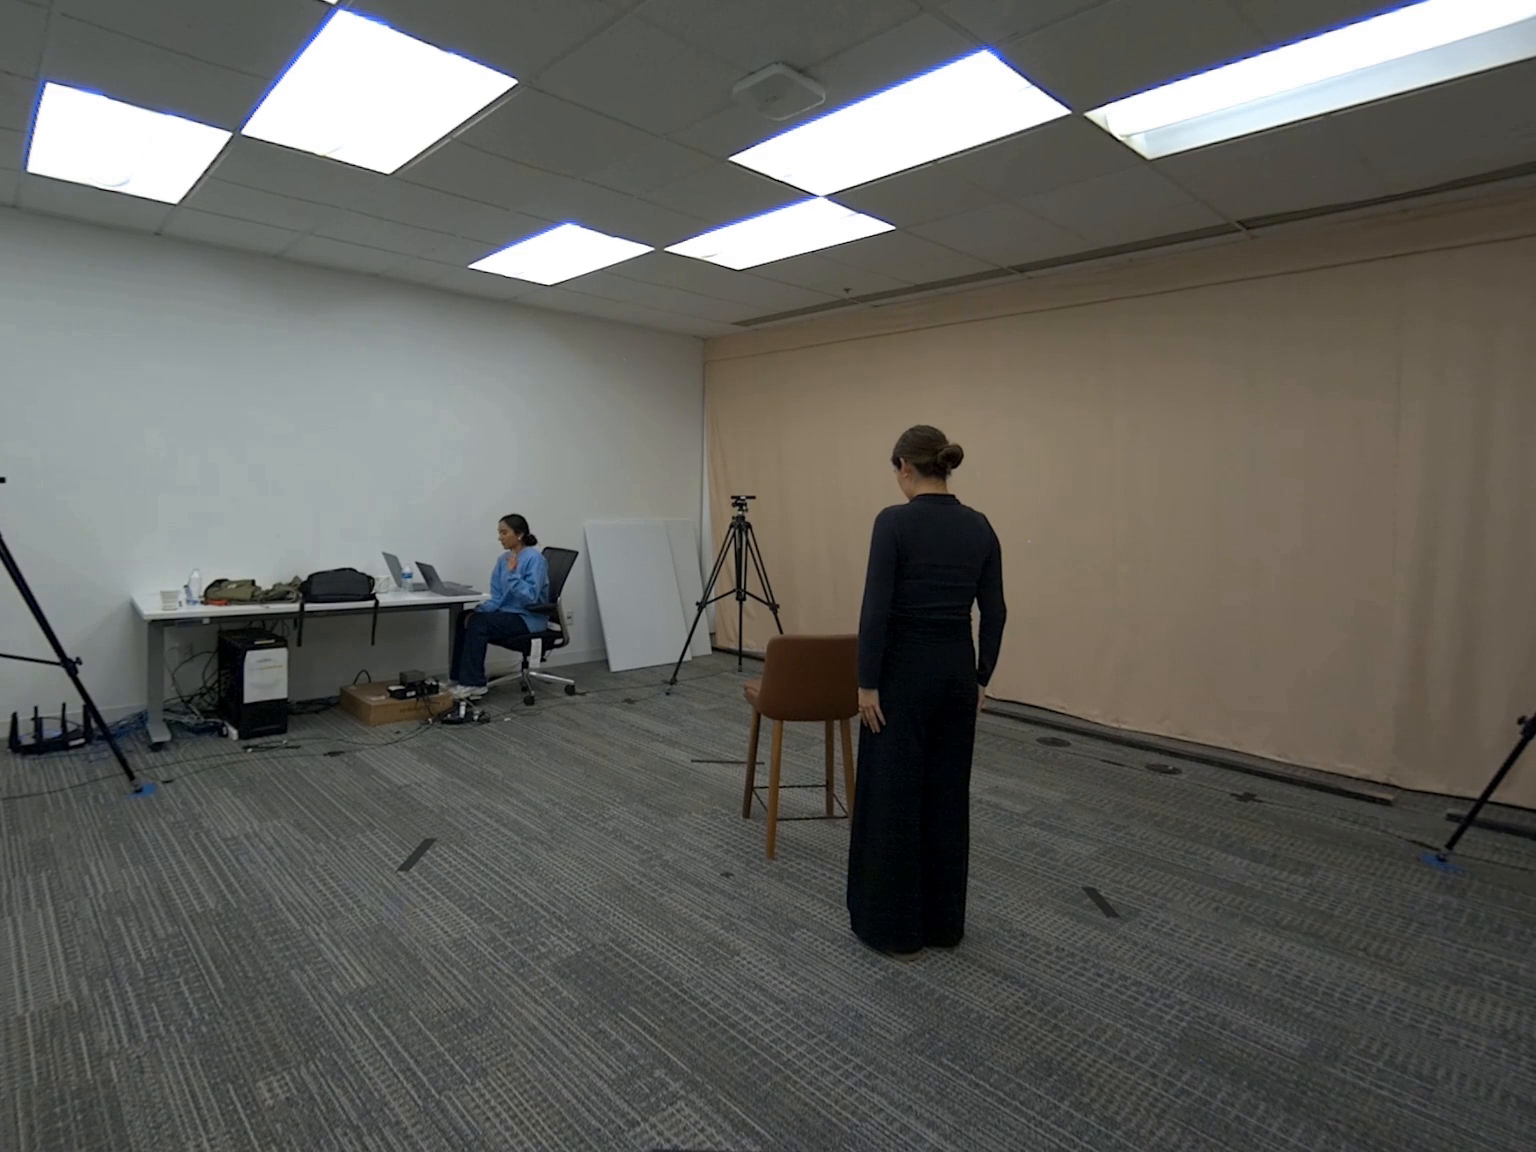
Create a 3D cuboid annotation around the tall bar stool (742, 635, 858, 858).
[{"bbox_3d":[0.139,0.637,3.455,0.453,0.886,0.473,1,5,-11],"label":"tall bar stool"}]
